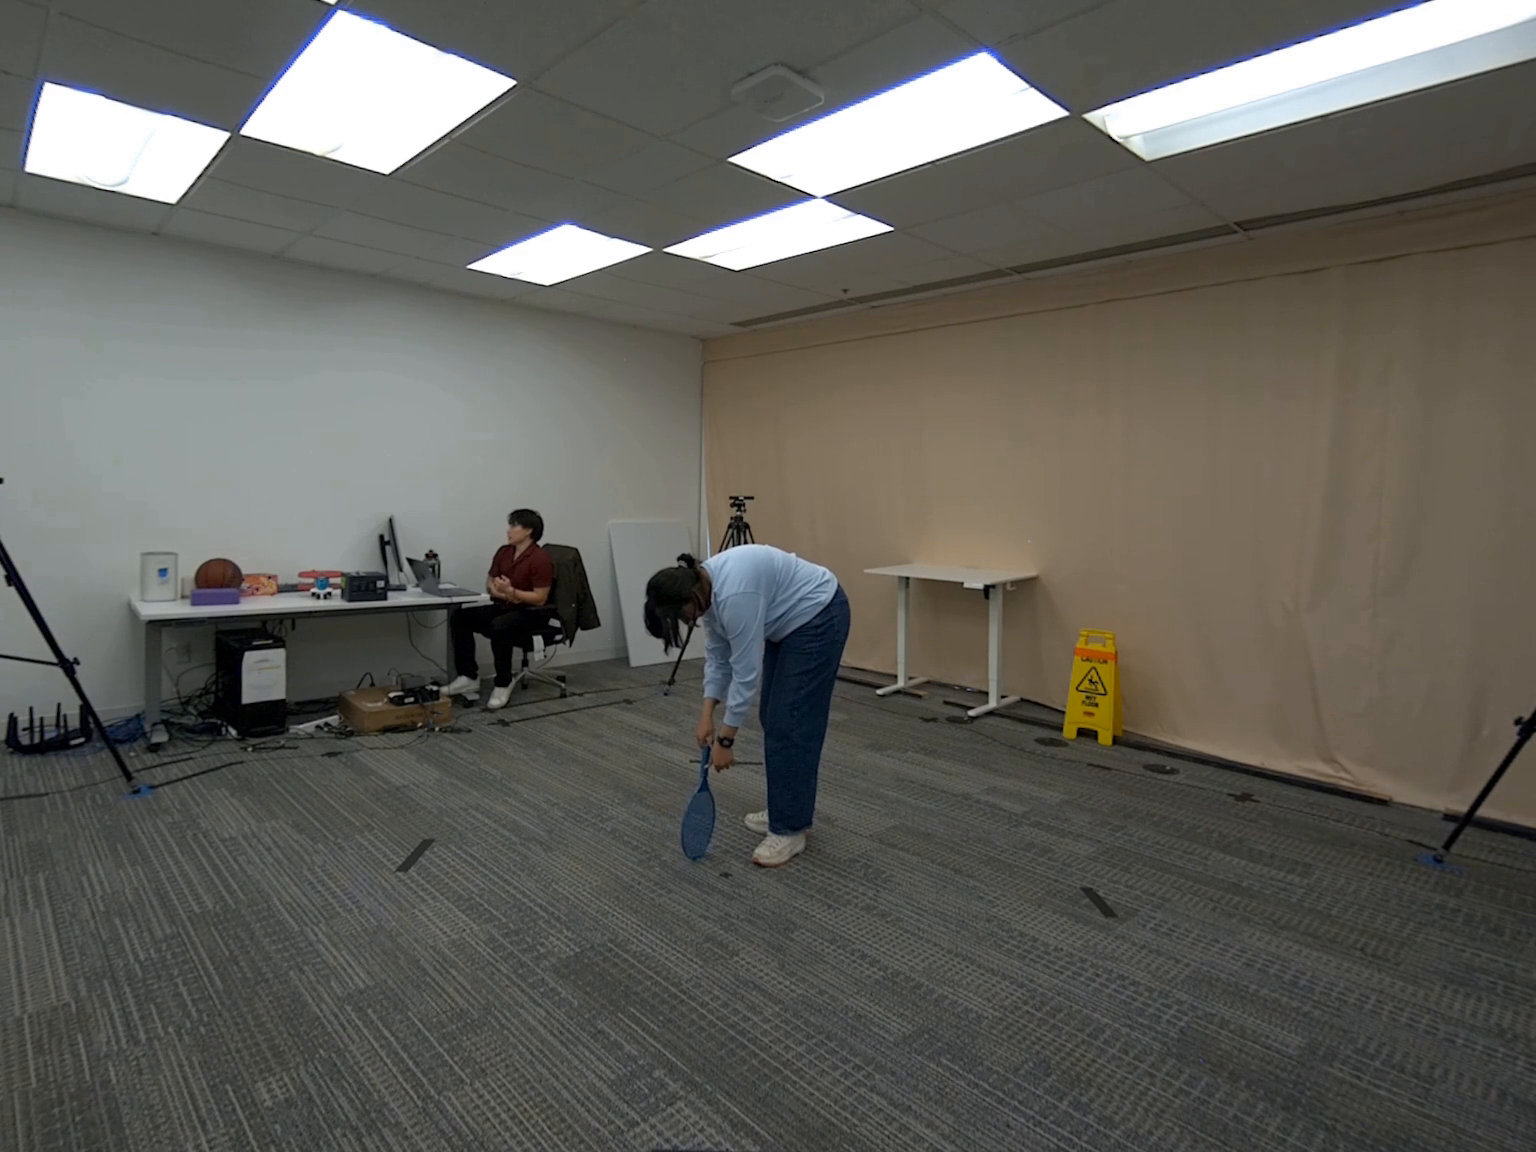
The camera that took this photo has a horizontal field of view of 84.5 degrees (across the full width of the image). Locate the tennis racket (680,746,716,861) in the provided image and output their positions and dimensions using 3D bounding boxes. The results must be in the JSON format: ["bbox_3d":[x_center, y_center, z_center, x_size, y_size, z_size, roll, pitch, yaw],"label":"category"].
[{"bbox_3d":[-0.263,0.876,3.256,0.032,0.435,0.208,0,-10,29],"label":"tennis racket"}]
